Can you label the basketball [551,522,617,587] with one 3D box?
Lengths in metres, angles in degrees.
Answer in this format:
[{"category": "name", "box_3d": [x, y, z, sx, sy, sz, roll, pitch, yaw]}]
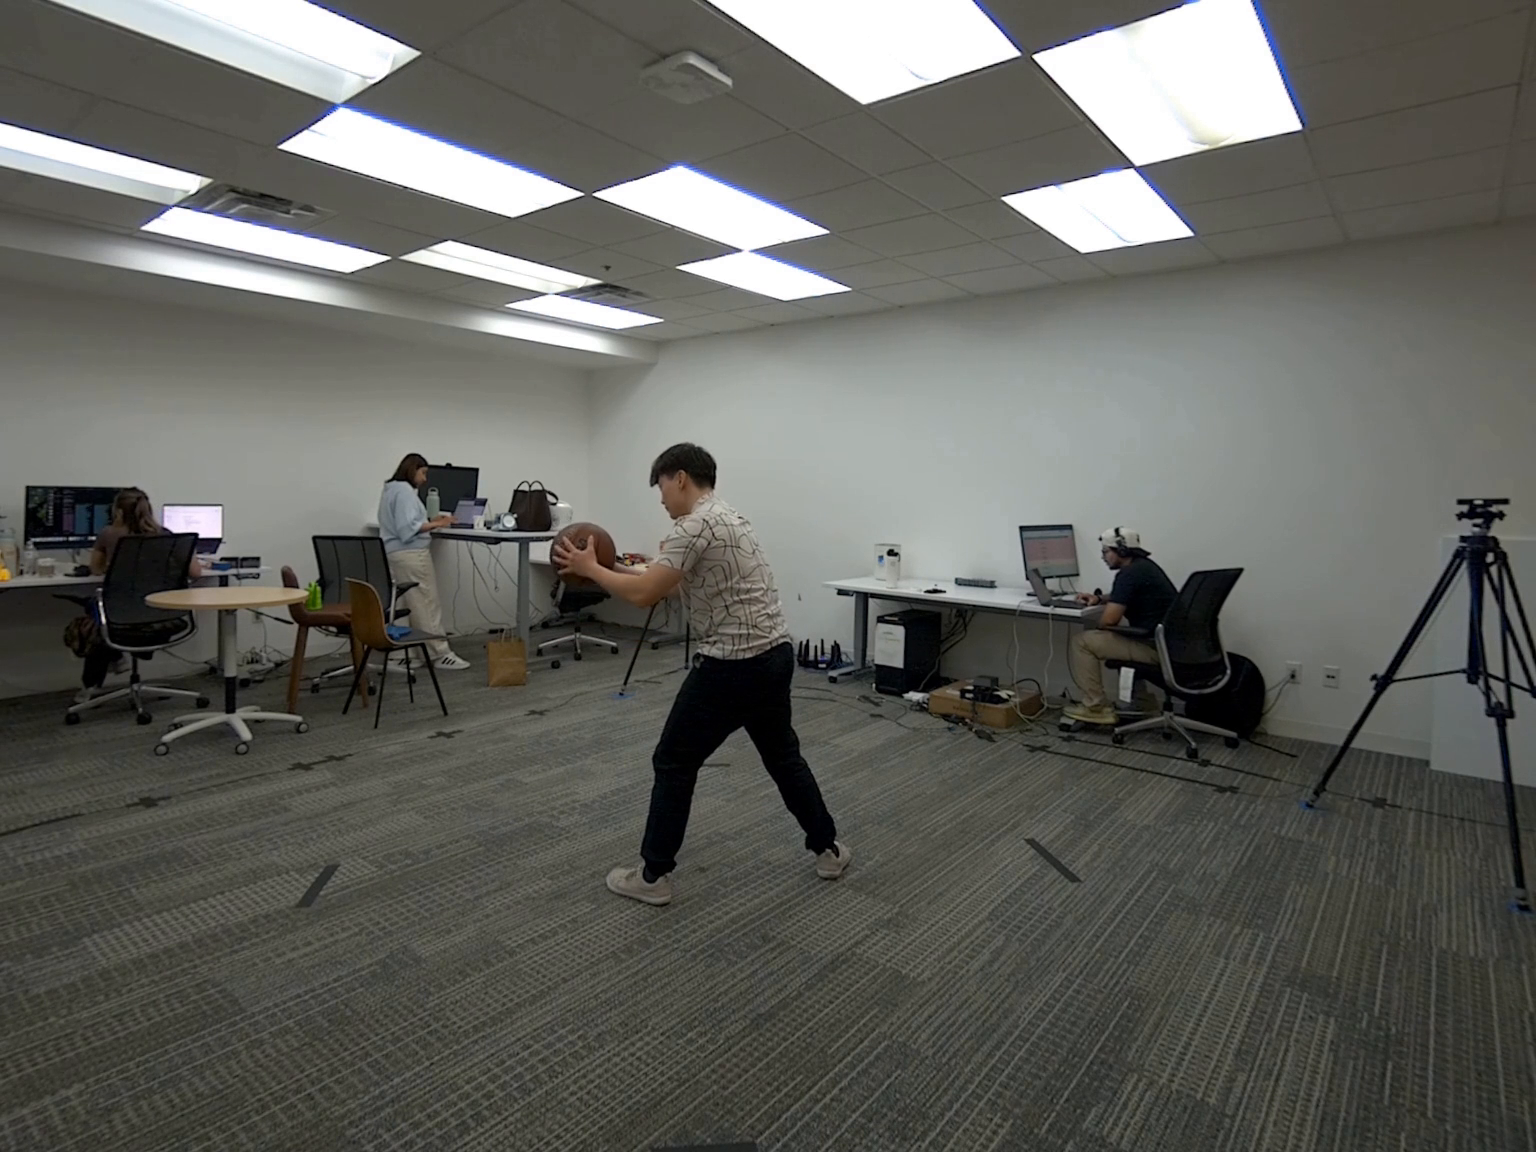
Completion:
[{"category": "basketball", "box_3d": [-0.673, -0.067, 3.063, 0.235, 0.235, 0.237, 1, 4, -2]}]
